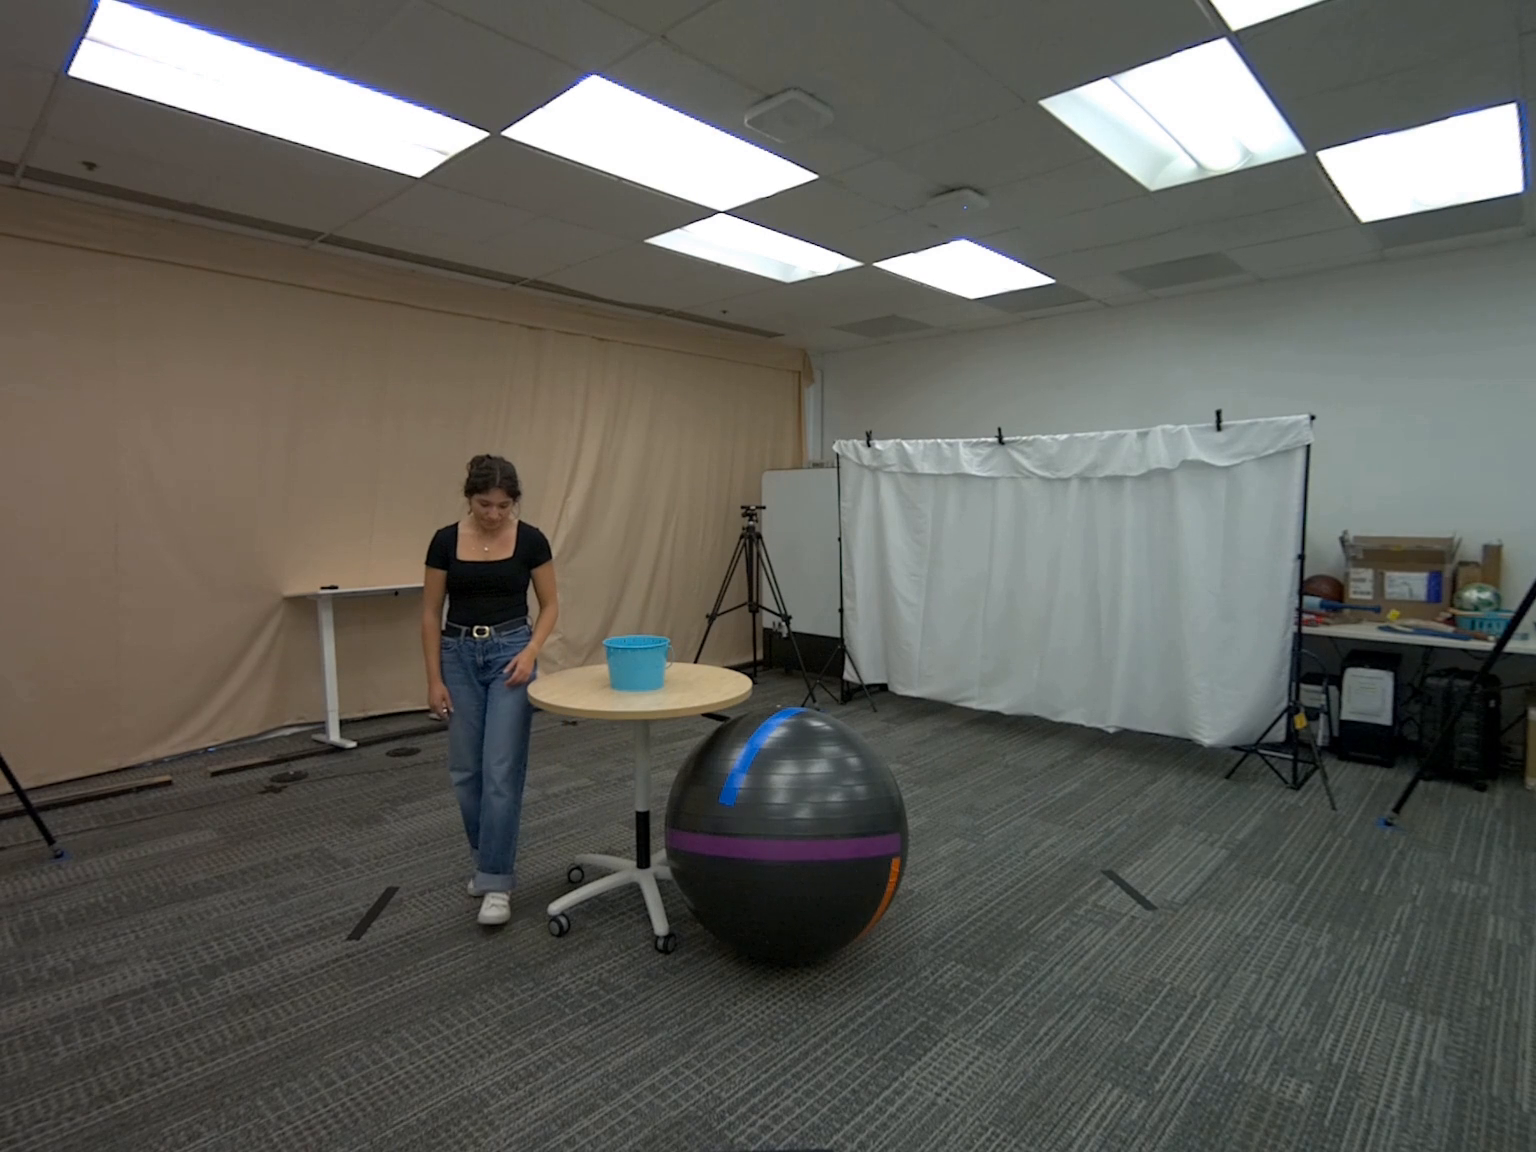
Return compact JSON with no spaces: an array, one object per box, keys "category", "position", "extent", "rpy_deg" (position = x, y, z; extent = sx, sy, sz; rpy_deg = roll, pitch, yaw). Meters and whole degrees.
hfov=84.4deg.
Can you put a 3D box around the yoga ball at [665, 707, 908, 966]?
[{"category":"yoga ball","position":[0.057,0.806,2.652],"extent":[0.757,0.756,0.760],"rpy_deg":[0,4,-2]}]
